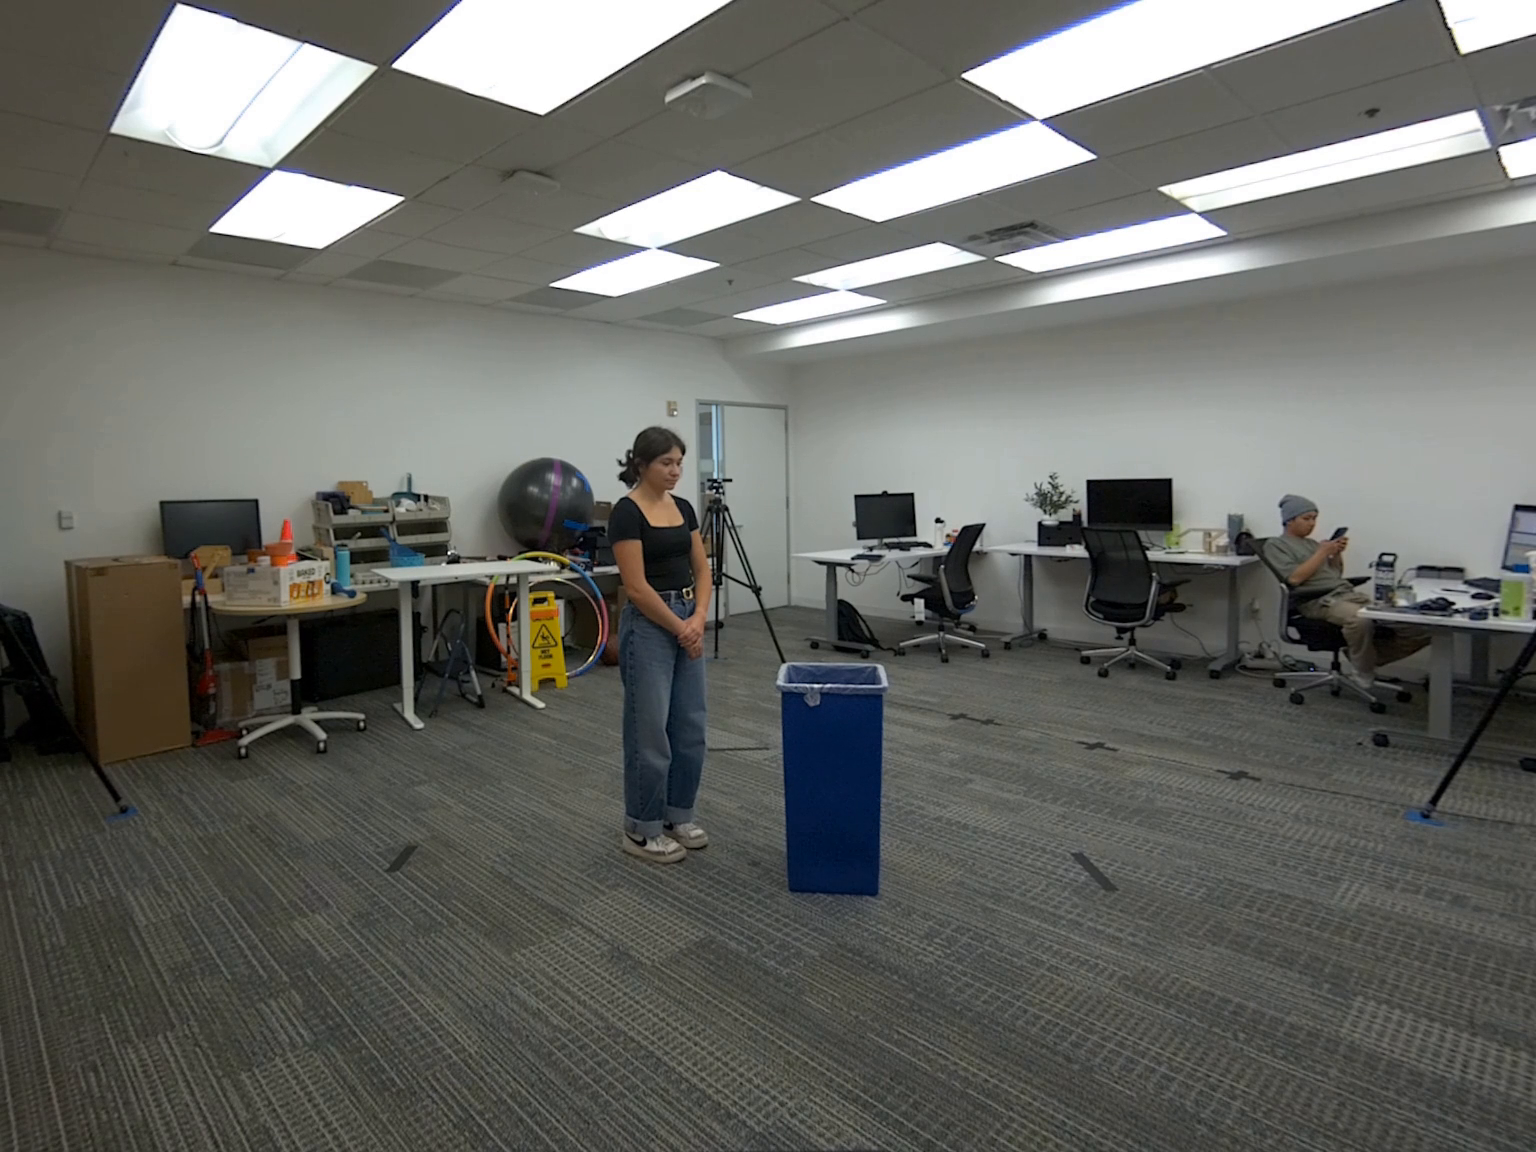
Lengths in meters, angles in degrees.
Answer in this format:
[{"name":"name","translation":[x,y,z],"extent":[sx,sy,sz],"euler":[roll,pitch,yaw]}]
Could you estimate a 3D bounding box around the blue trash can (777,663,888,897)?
[{"name":"blue trash can","translation":[0.234,0.699,2.998],"extent":[0.381,0.711,0.373],"euler":[1,4,7]}]
